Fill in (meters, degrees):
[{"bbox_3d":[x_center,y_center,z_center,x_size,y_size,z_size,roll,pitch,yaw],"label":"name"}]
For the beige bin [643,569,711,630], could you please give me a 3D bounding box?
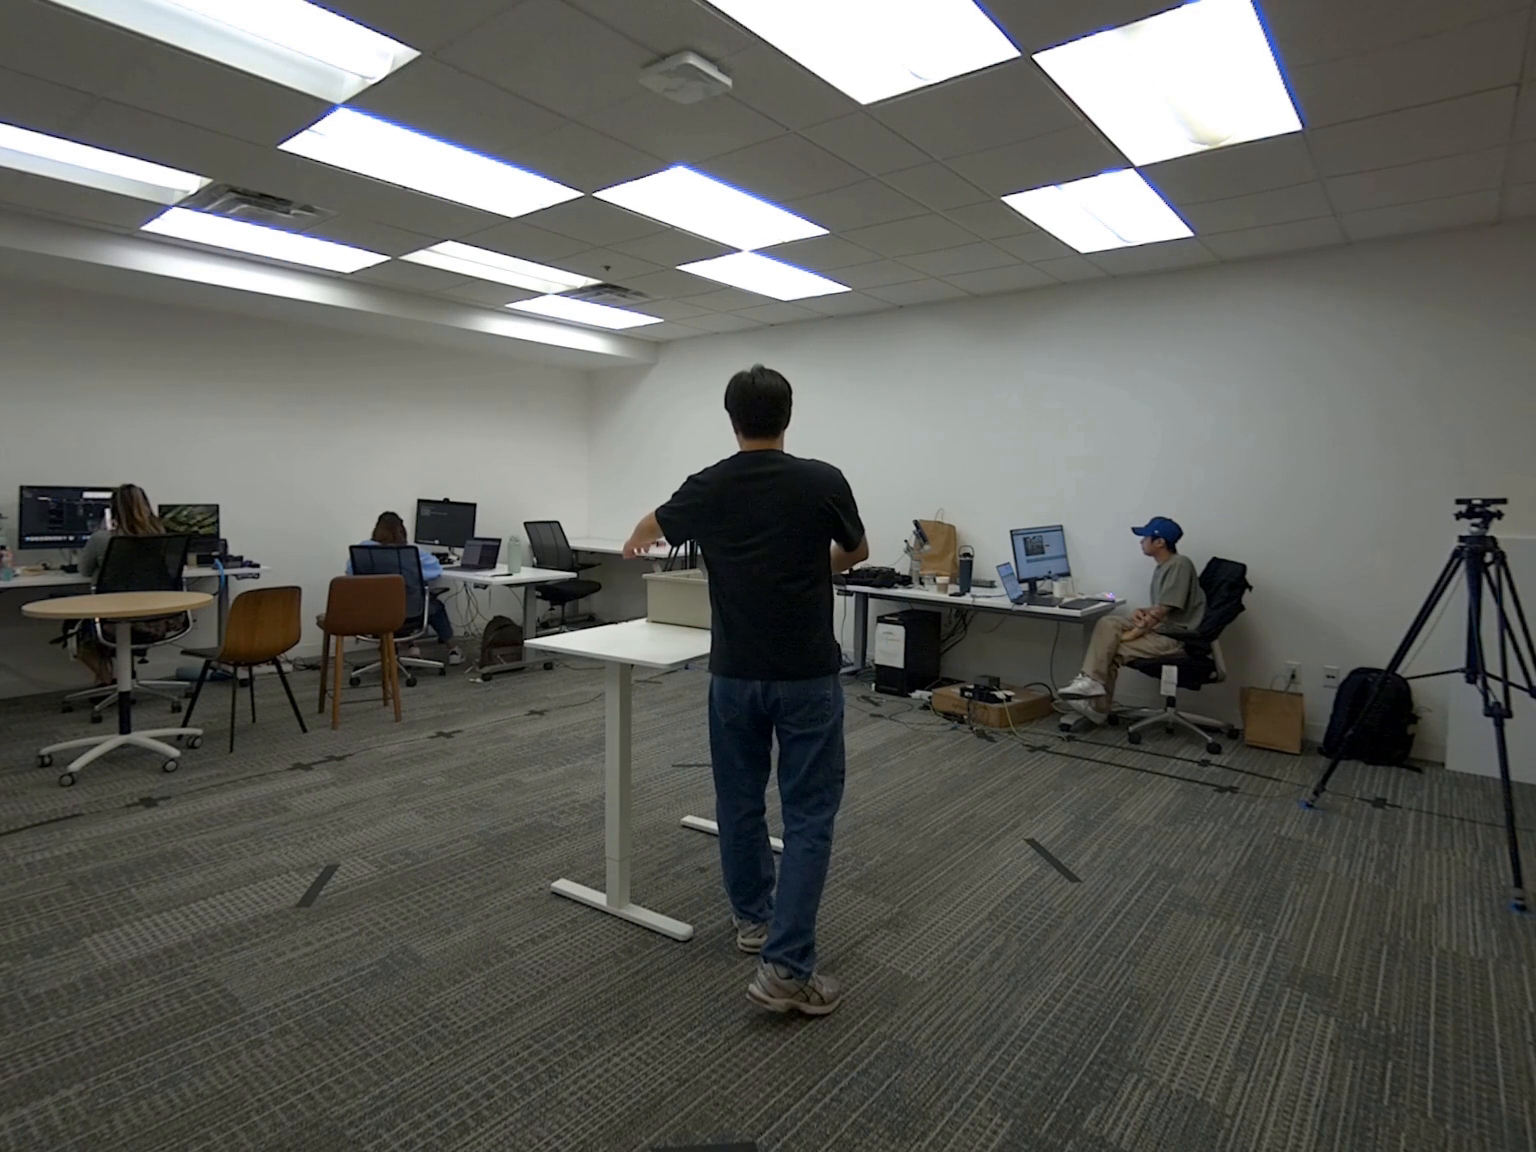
[{"bbox_3d":[-0.207,0.084,3.234,0.436,0.188,0.367,4,8,38],"label":"beige bin"}]
